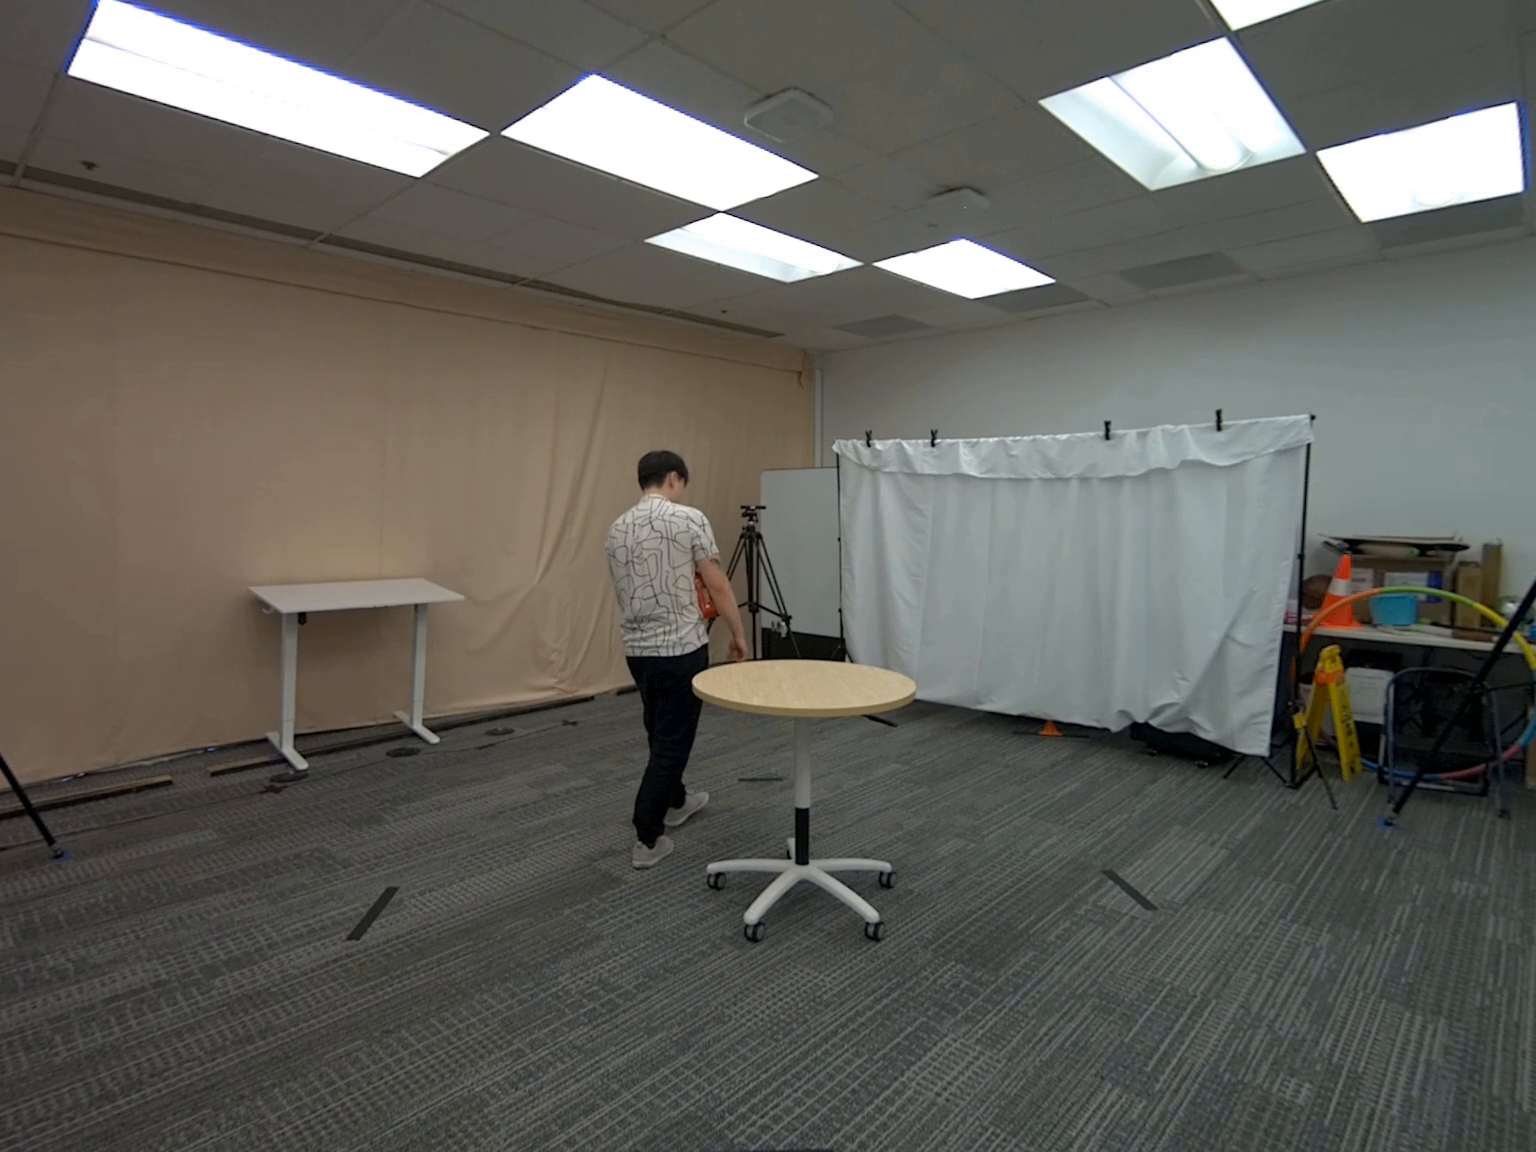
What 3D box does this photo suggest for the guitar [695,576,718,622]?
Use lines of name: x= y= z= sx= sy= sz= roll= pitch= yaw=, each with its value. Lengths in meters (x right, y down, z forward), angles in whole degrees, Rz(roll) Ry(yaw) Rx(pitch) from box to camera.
guitar: x=-0.296 y=0.092 z=3.588 sx=0.070 sy=0.194 sz=0.499 roll=-12 pitch=-4 yaw=-10
